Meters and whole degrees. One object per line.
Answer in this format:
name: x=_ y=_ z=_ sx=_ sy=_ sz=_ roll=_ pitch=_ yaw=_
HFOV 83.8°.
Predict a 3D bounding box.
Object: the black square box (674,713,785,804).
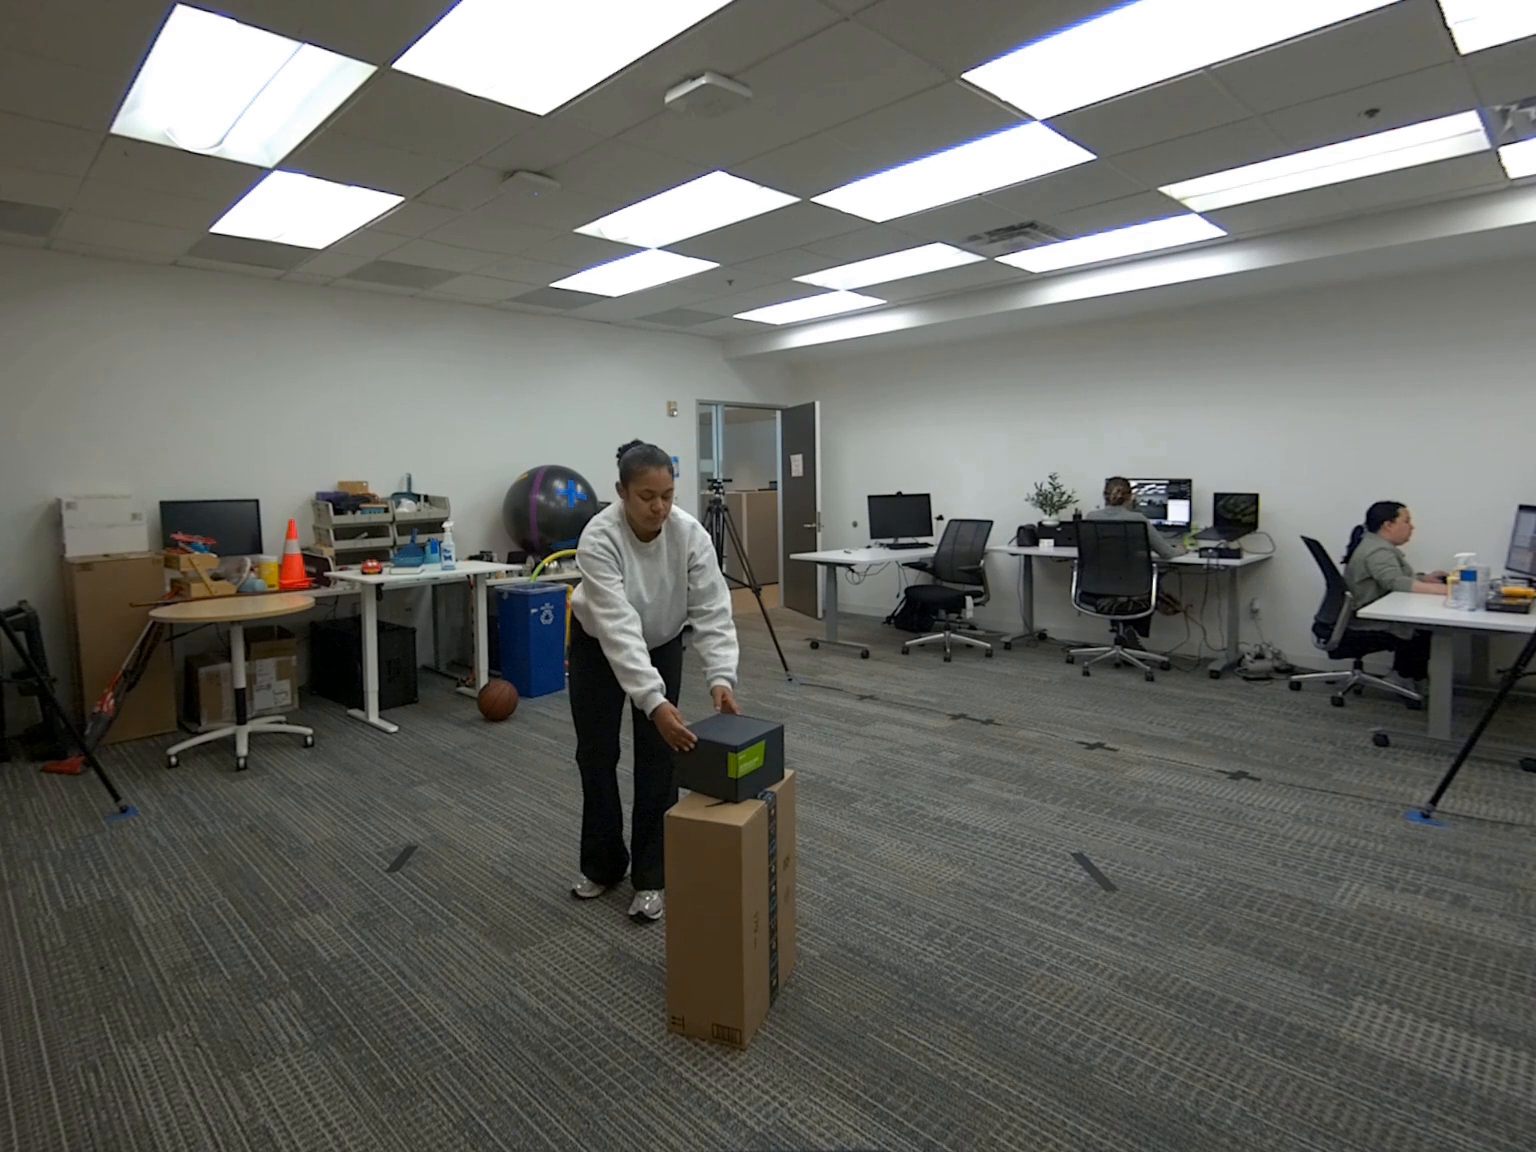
black square box: x=-0.100 y=0.482 z=2.345 sx=0.223 sy=0.155 sz=0.223 roll=4 pitch=8 yaw=34
